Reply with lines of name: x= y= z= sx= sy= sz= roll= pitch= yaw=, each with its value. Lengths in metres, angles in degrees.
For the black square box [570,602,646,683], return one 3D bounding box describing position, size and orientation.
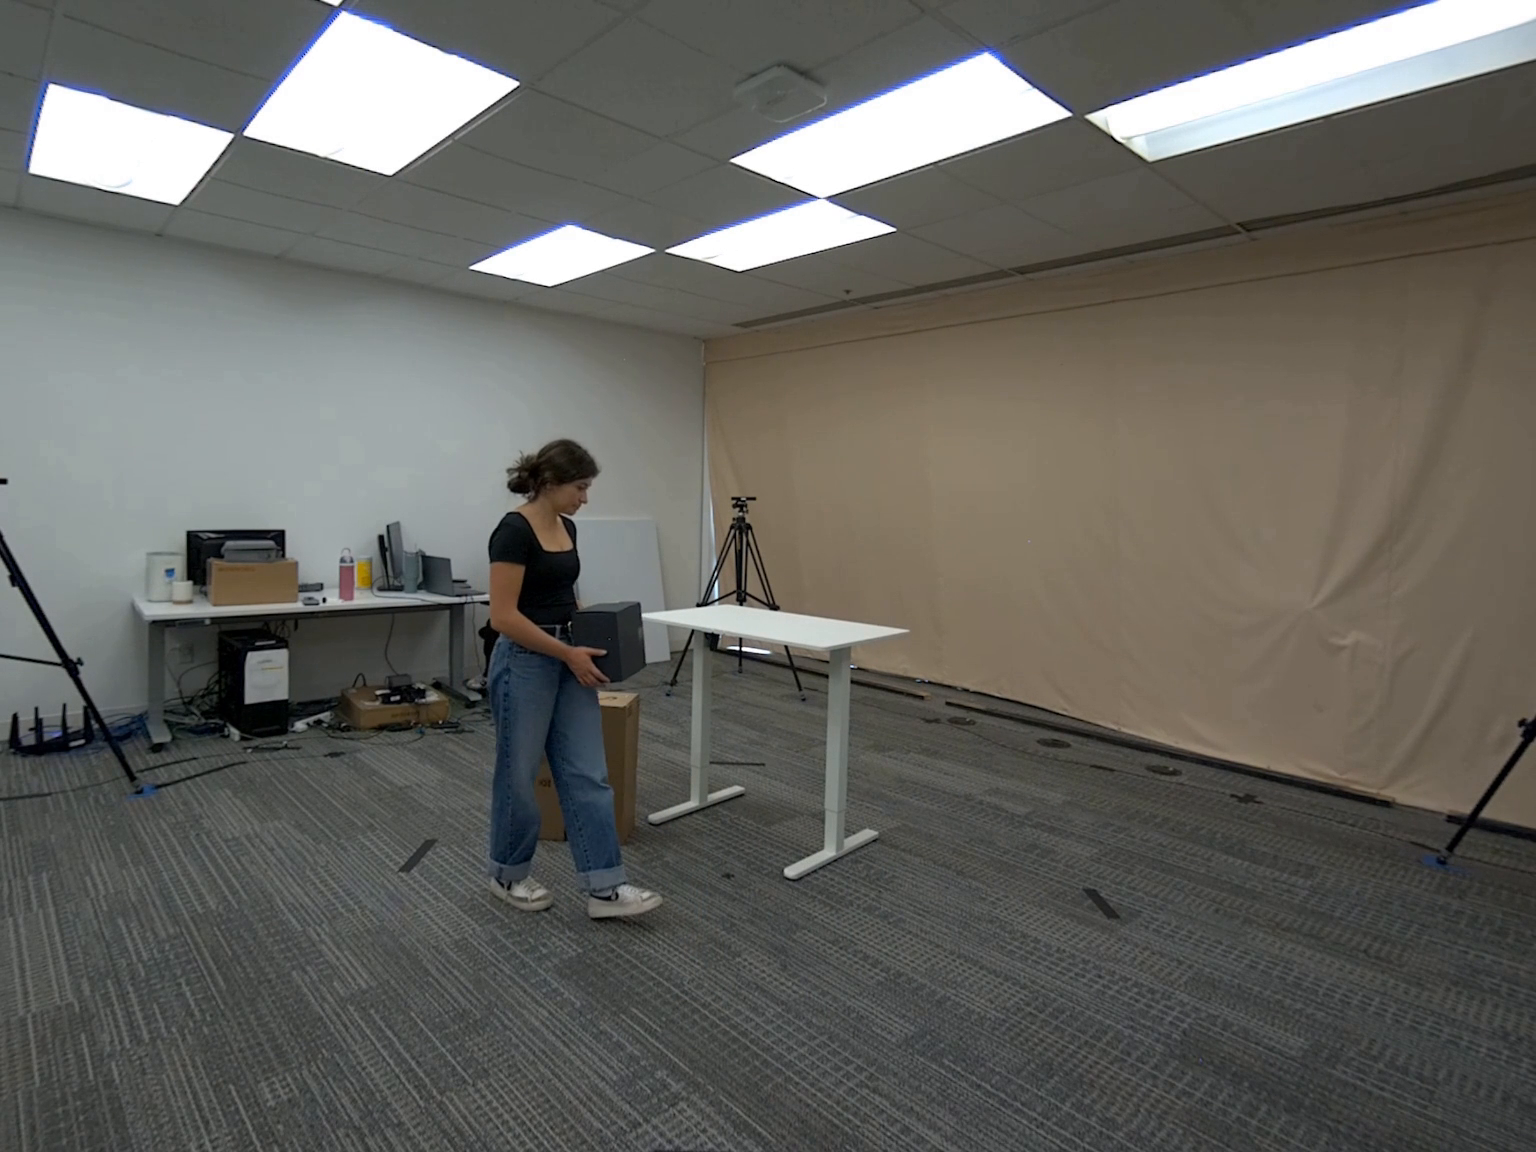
black square box: x=-0.524 y=0.209 z=2.754 sx=0.158 sy=0.227 sz=0.215 roll=-2 pitch=3 yaw=14
